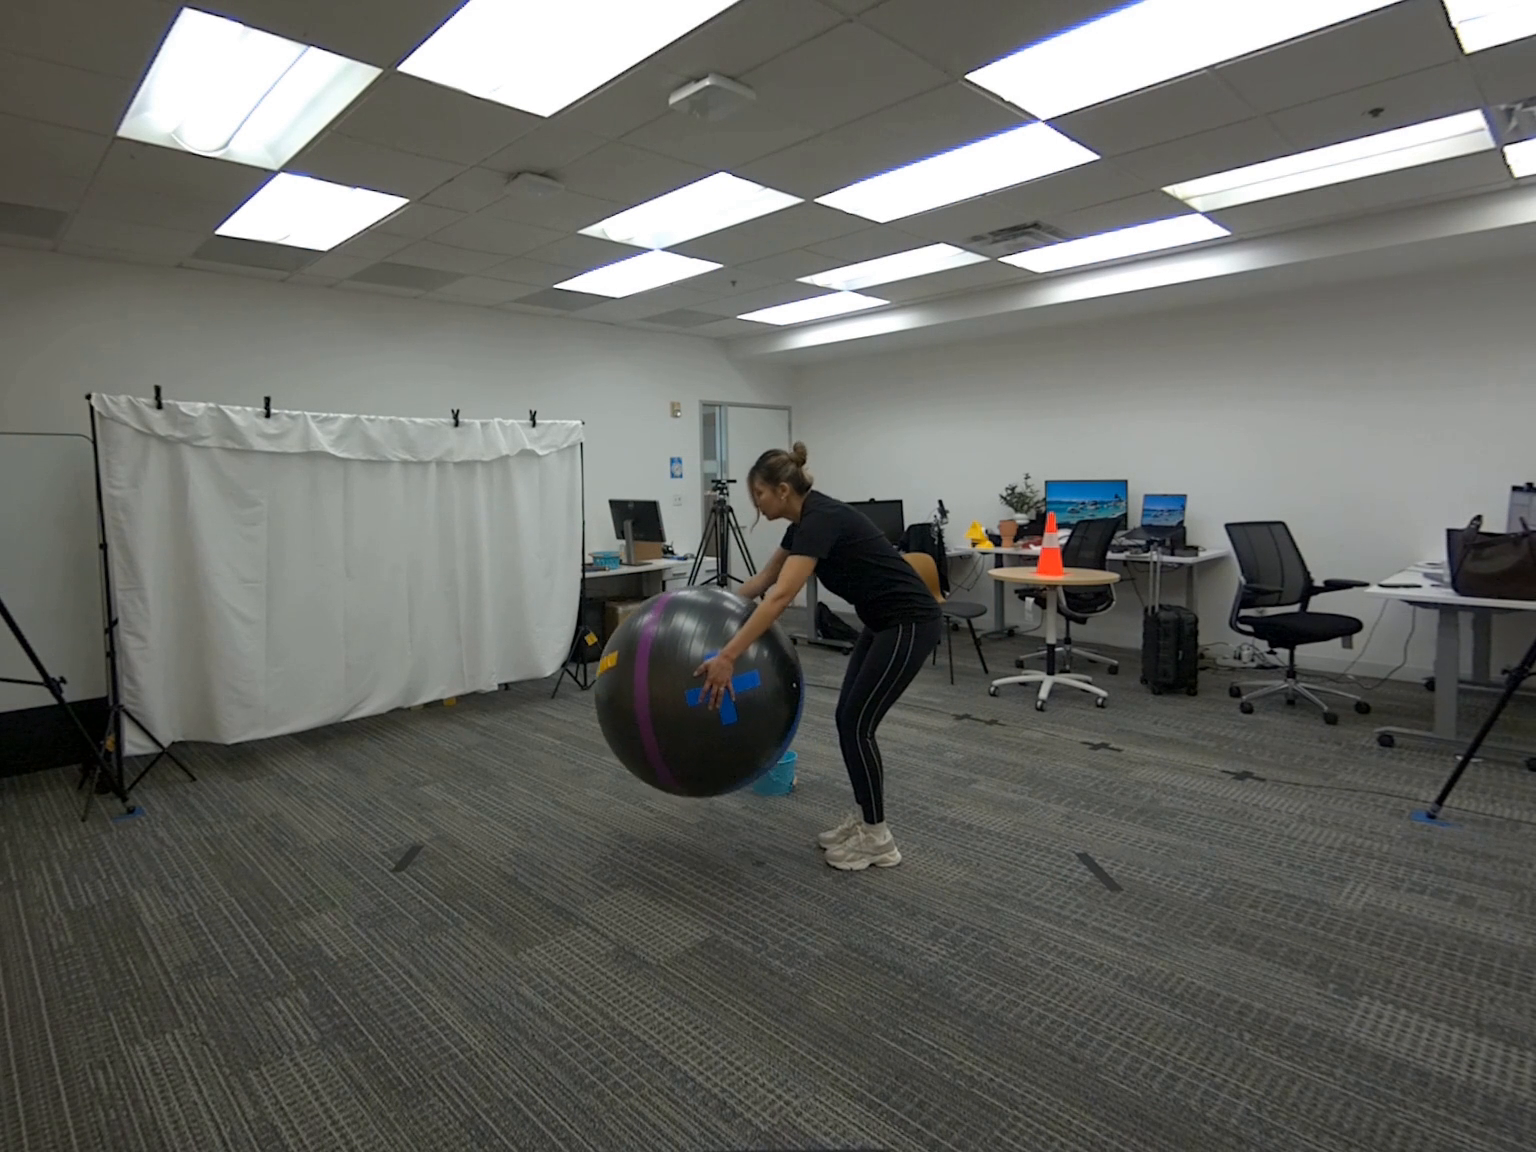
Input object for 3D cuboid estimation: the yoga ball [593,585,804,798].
[{"bbox_3d":[-0.252,0.416,3.118,0.757,0.755,0.762,-1,5,-2],"label":"yoga ball"}]
